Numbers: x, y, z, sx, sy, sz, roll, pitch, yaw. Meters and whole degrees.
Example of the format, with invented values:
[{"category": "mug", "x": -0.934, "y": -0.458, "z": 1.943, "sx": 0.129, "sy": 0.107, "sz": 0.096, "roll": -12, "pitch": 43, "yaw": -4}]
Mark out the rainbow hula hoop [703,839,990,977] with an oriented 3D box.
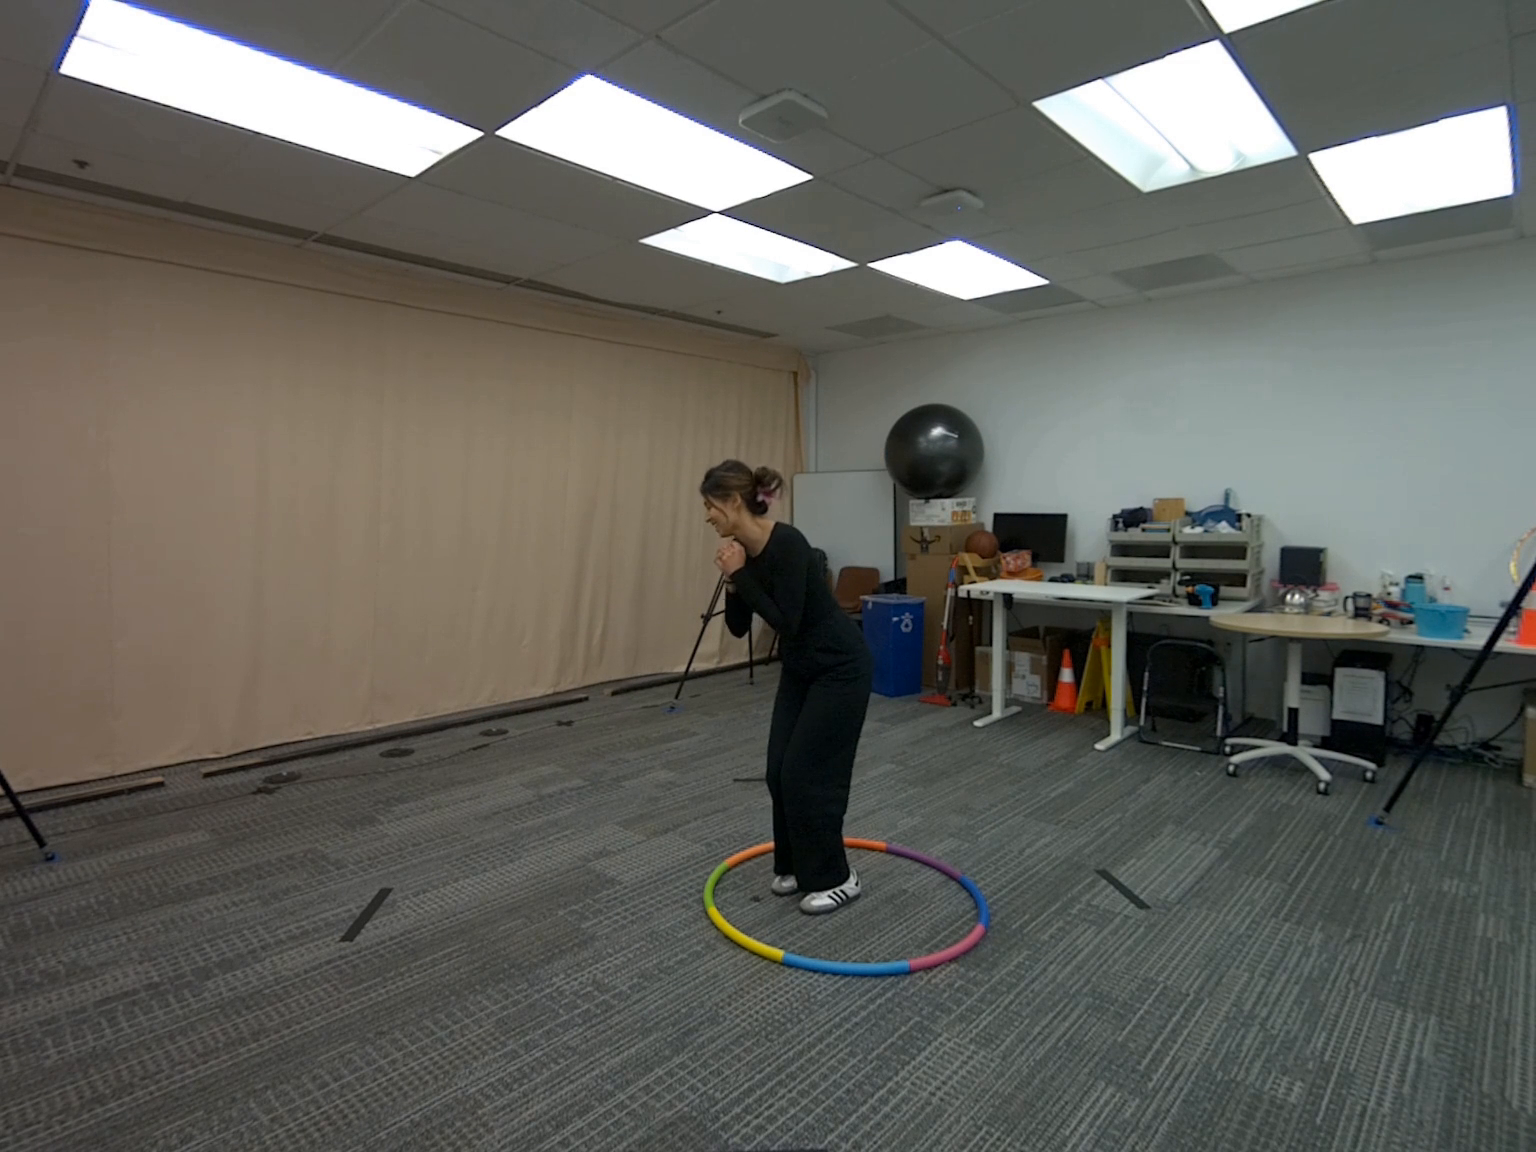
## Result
[{"category": "rainbow hula hoop", "x": 0.263, "y": 1.116, "z": 2.971, "sx": 0.978, "sy": 0.035, "sz": 0.982, "roll": 0, "pitch": 5, "yaw": -2}]
